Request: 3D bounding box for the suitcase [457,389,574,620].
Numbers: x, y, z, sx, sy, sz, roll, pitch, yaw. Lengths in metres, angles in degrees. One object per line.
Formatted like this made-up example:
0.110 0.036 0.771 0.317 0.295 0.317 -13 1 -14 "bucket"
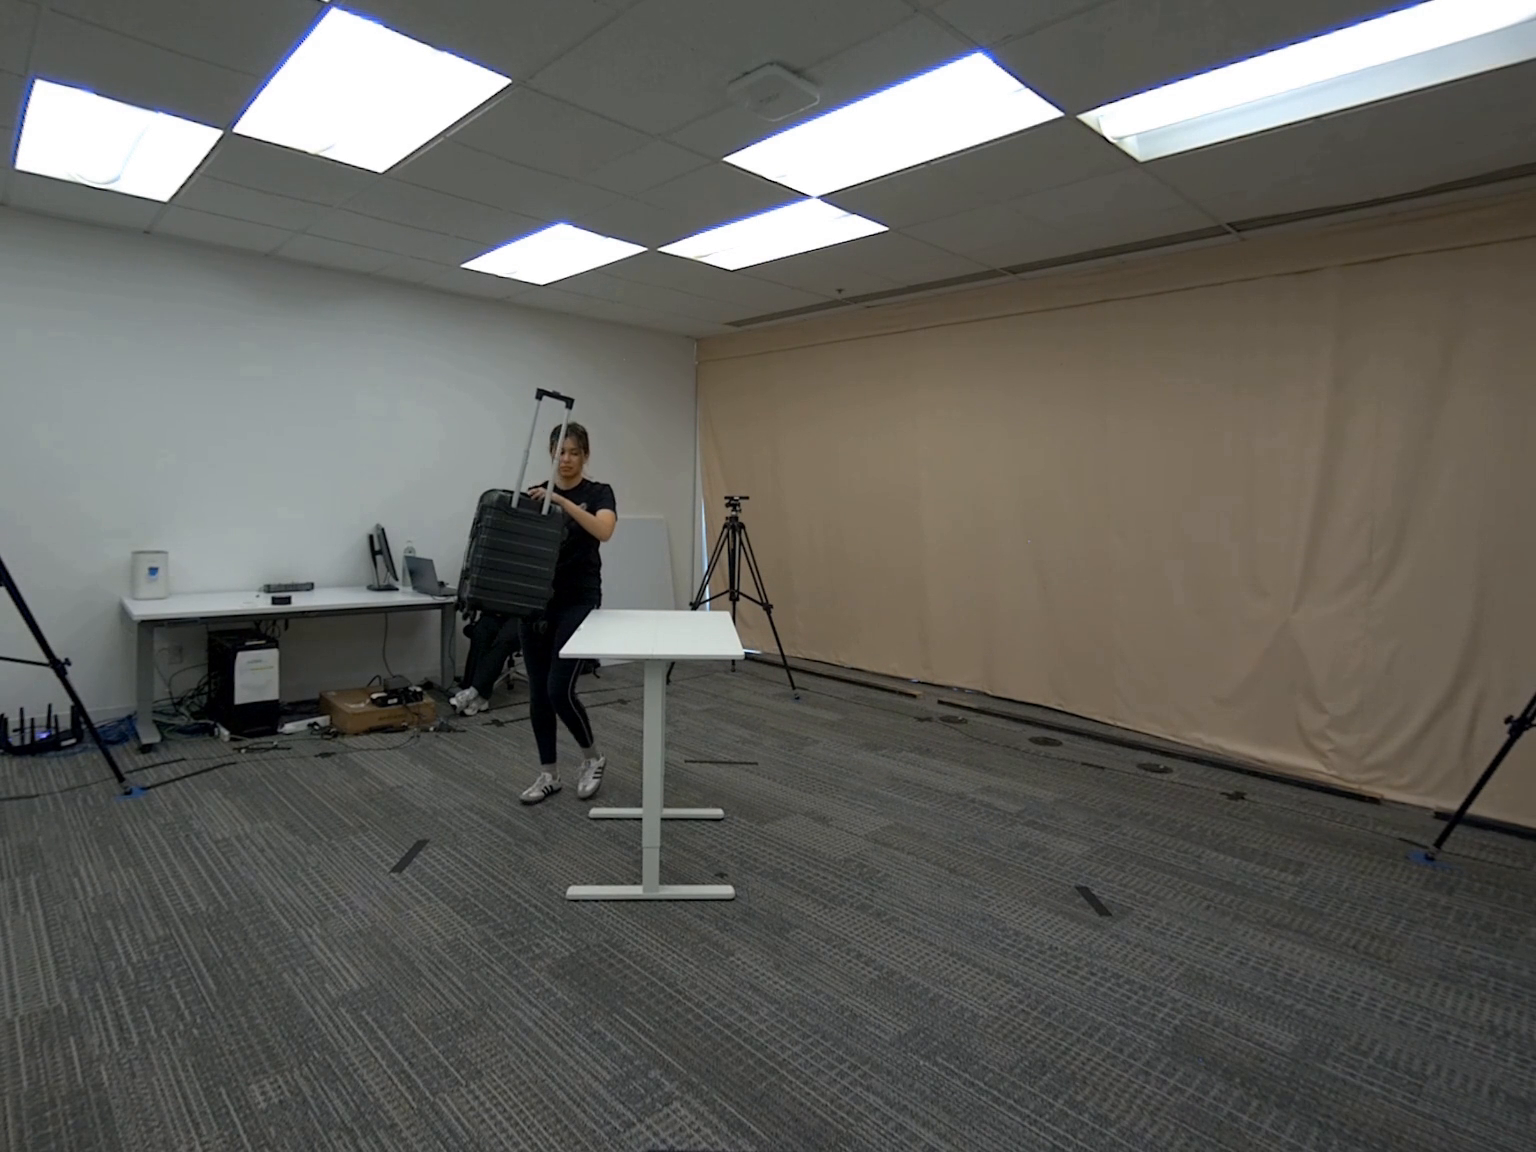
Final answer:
-1.029 -0.283 3.524 0.375 0.980 0.262 14 -3 -27 "suitcase"
